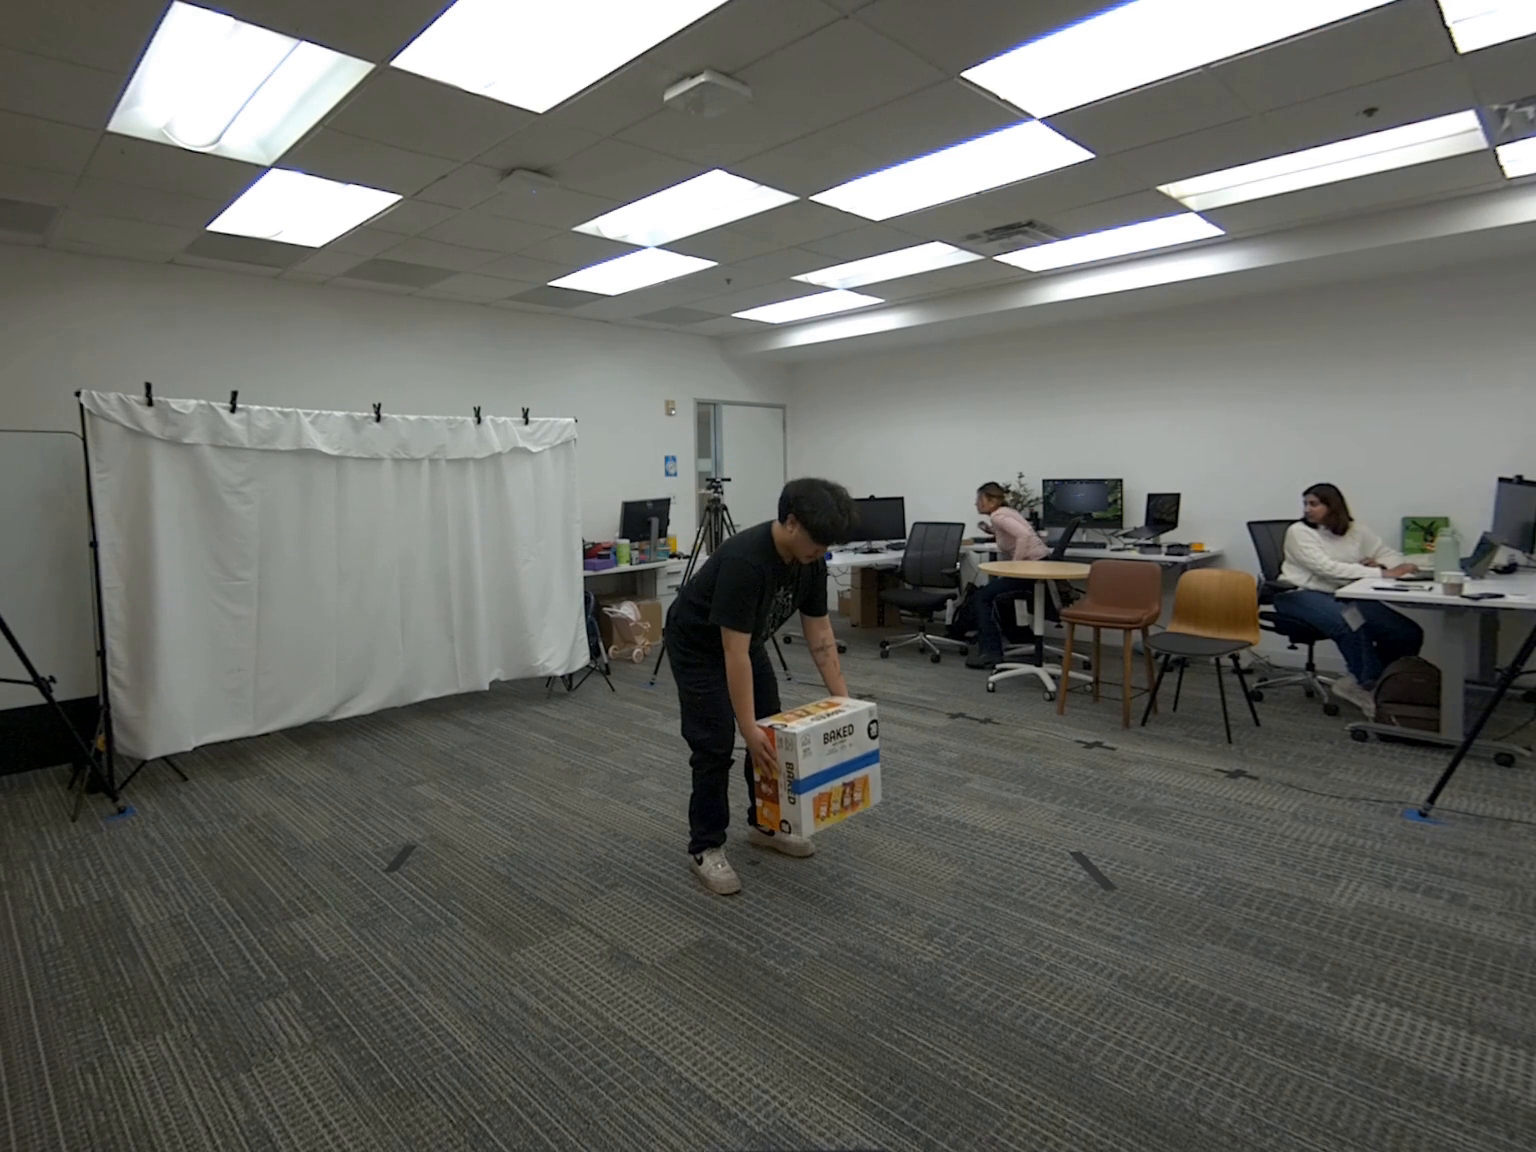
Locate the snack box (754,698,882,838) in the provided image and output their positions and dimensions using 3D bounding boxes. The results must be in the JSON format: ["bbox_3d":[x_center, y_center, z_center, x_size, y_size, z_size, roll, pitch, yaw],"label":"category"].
[{"bbox_3d":[0.164,0.620,2.859,0.395,0.339,0.212,-8,6,-42],"label":"snack box"}]
